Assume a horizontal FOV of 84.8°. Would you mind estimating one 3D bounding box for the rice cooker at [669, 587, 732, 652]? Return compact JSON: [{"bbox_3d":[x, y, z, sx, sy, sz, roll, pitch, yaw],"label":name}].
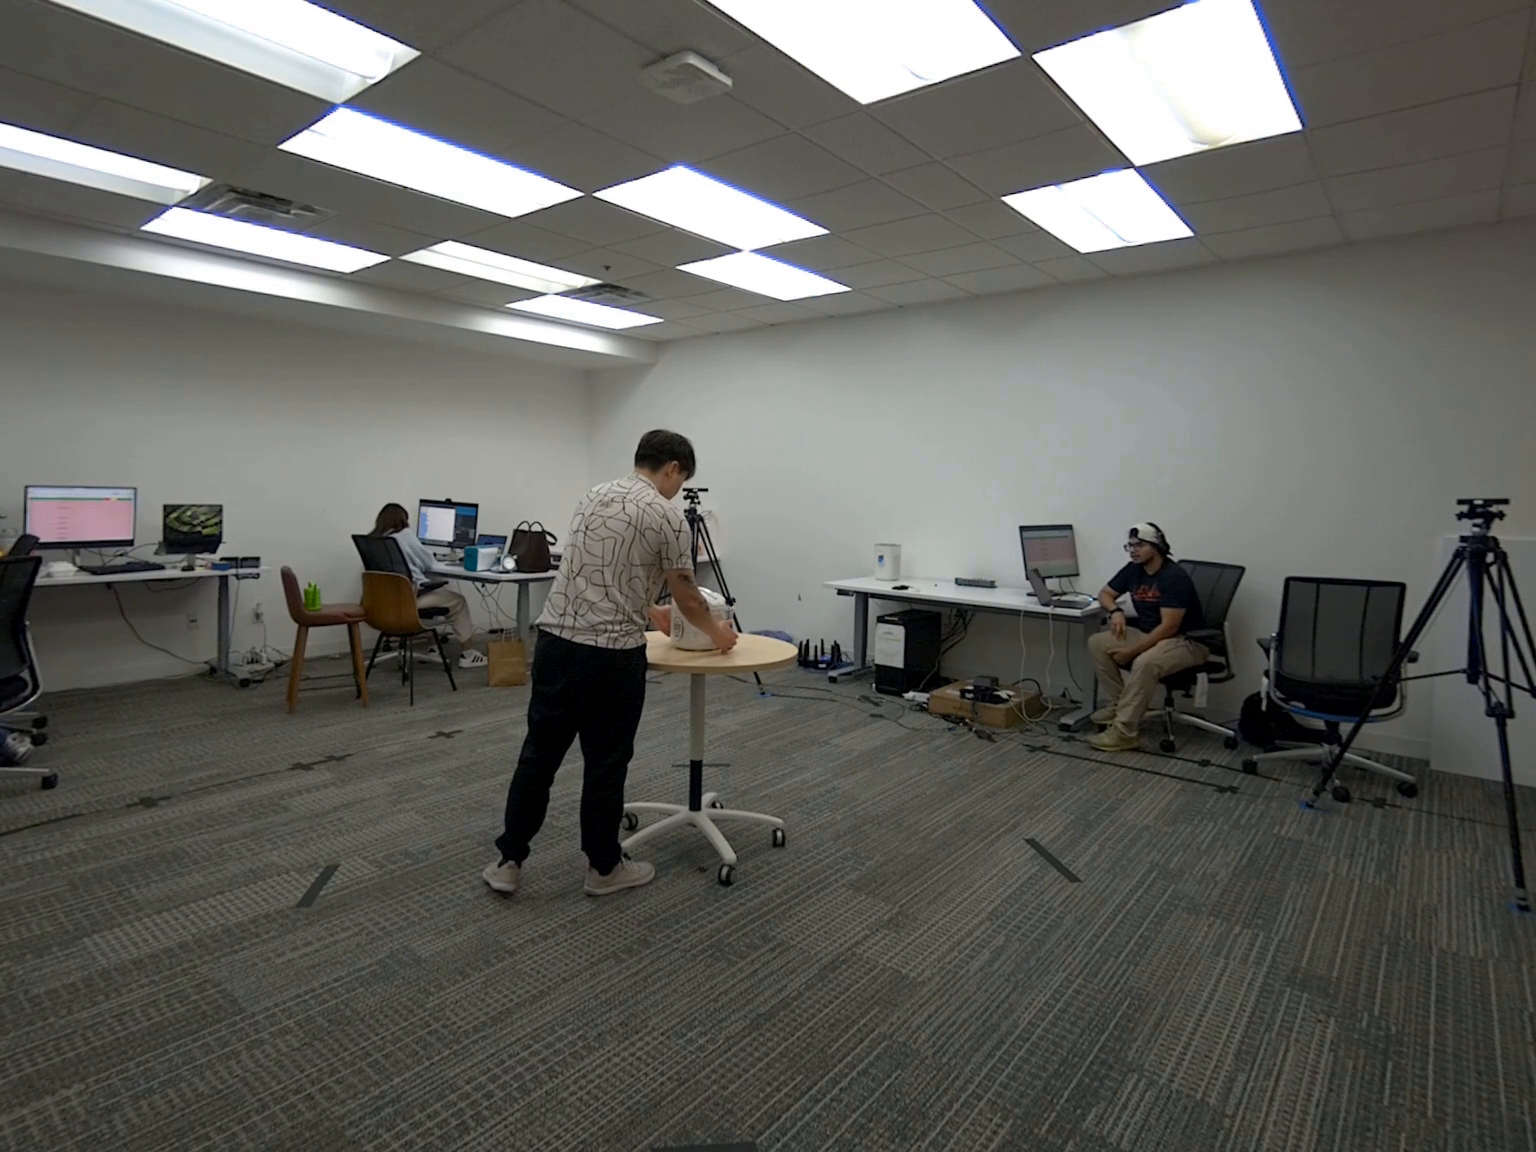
[{"bbox_3d":[-0.275,0.157,3.263,0.228,0.232,0.211,4,3,42],"label":"rice cooker"}]
